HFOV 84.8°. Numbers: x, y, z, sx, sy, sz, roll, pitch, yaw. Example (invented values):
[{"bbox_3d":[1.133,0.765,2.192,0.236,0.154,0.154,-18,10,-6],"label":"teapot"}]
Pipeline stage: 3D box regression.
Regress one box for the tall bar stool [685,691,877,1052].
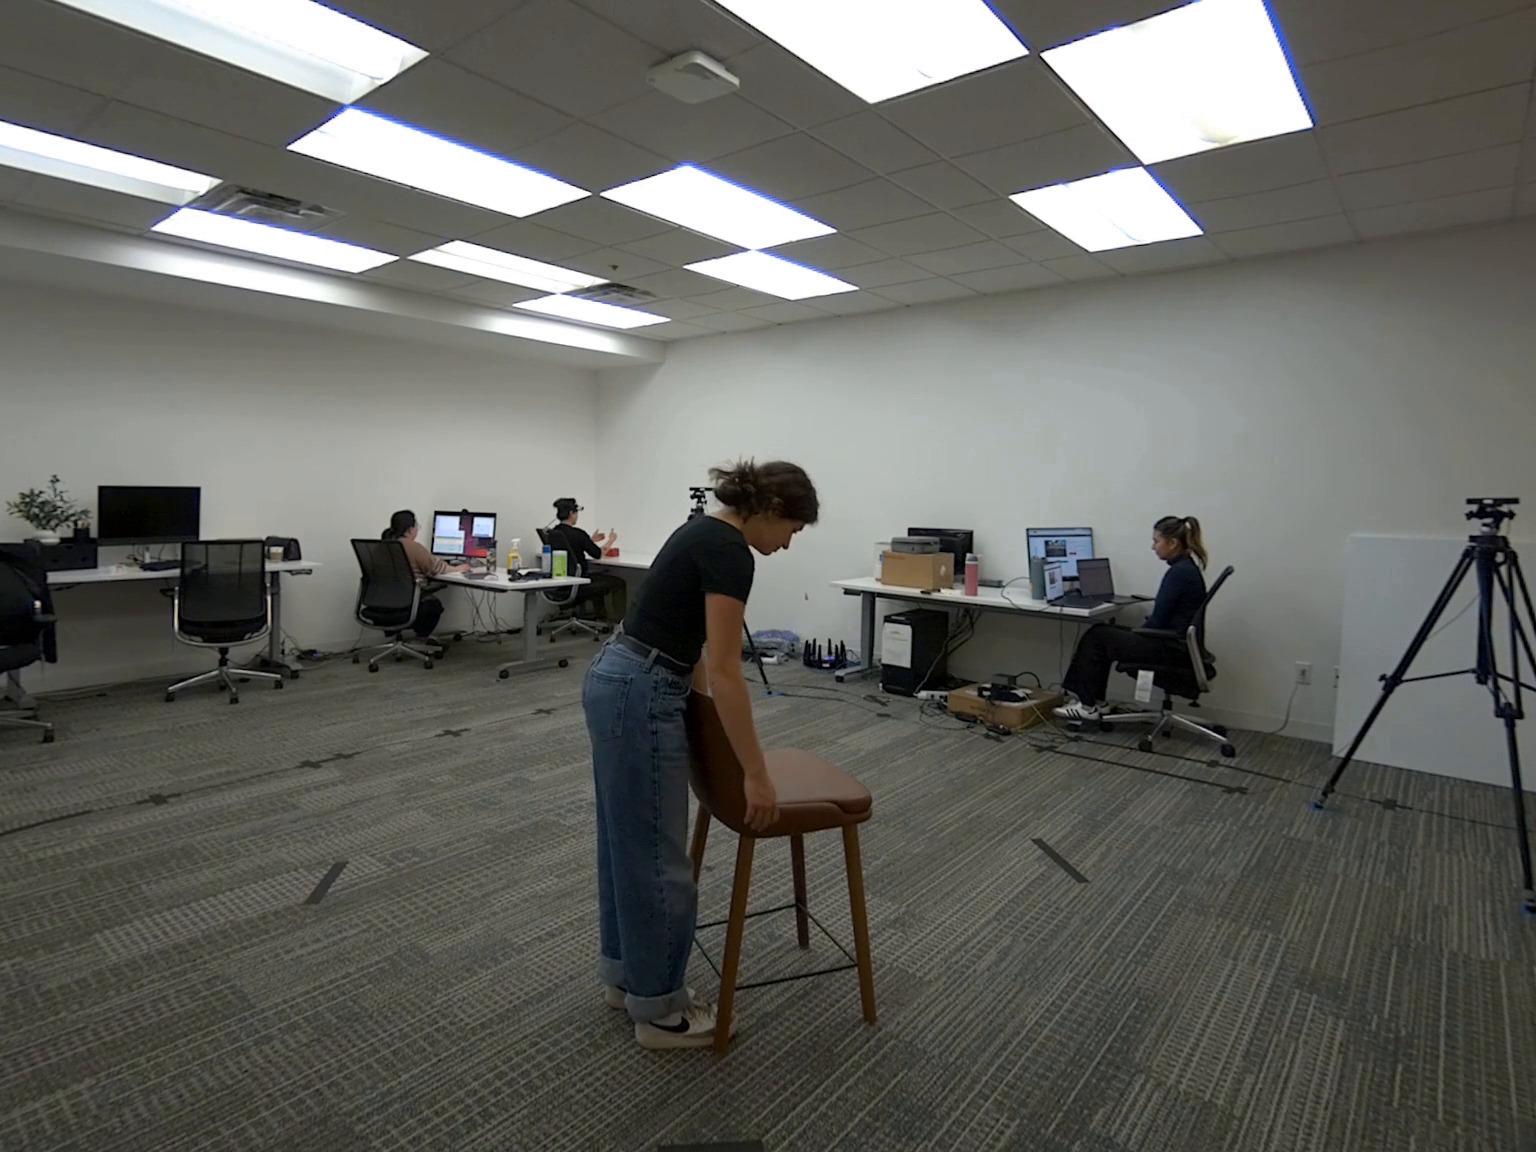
[{"bbox_3d":[0.002,0.714,2.310,0.457,0.887,0.468,-2,4,-24],"label":"tall bar stool"}]
